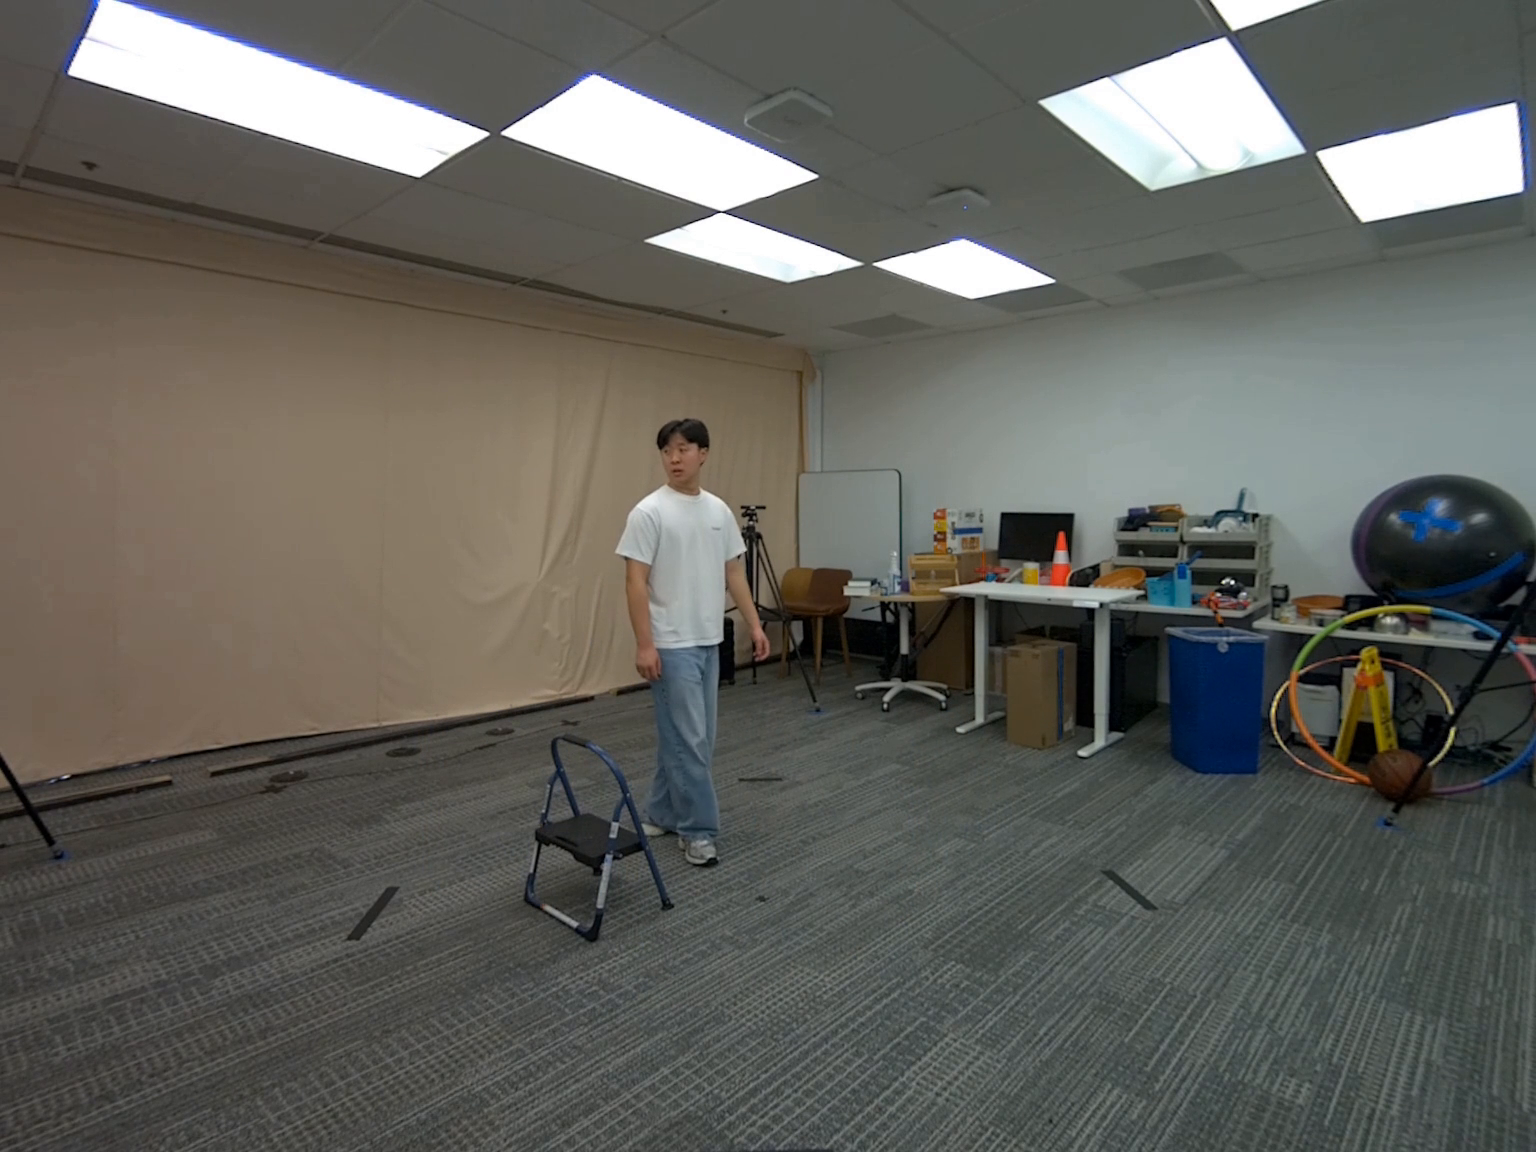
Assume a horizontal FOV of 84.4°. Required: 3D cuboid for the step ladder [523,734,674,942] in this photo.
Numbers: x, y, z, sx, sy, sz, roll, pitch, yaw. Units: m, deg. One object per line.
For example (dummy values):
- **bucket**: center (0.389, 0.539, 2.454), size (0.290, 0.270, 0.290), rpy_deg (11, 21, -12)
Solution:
- **step ladder**: center (-0.603, 0.848, 2.935), size (0.445, 0.605, 0.338), rpy_deg (2, 4, 43)
